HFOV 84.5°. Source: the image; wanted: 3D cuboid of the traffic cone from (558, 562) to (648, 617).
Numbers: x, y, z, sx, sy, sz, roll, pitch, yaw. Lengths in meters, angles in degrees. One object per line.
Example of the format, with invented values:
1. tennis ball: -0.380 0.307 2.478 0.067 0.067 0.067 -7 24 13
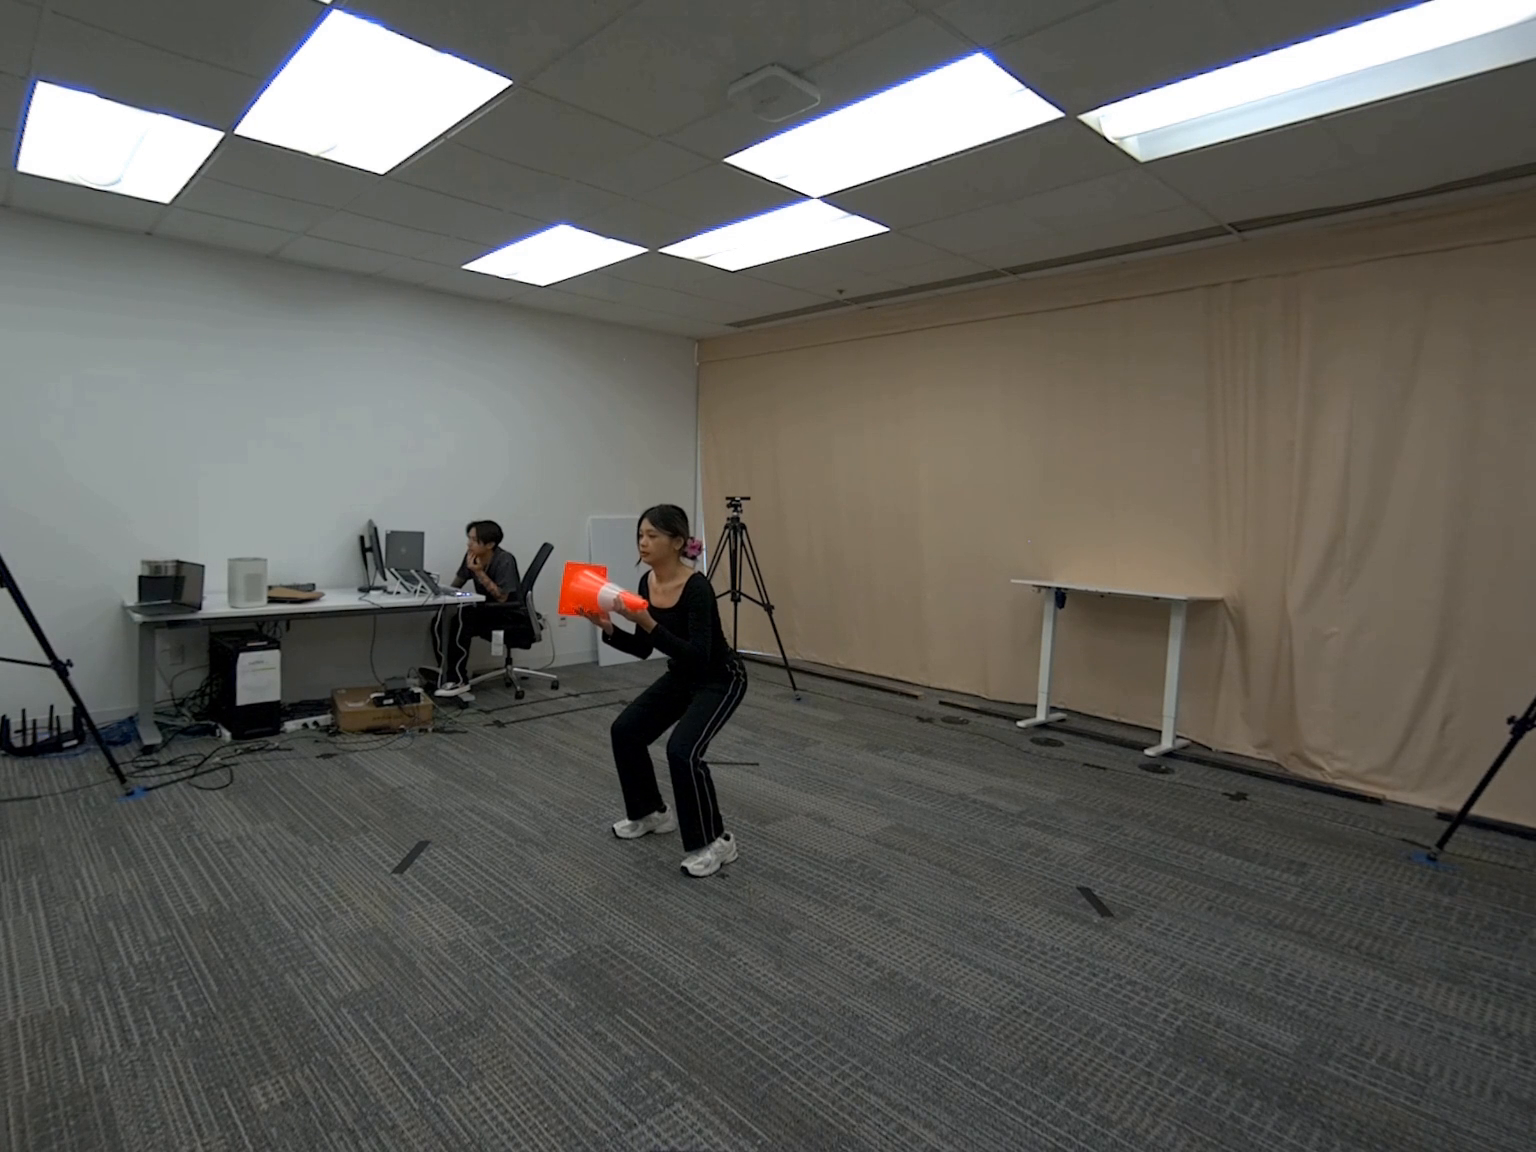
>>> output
1. traffic cone: -0.560 0.075 3.022 0.198 0.205 0.394 8 1 -45
